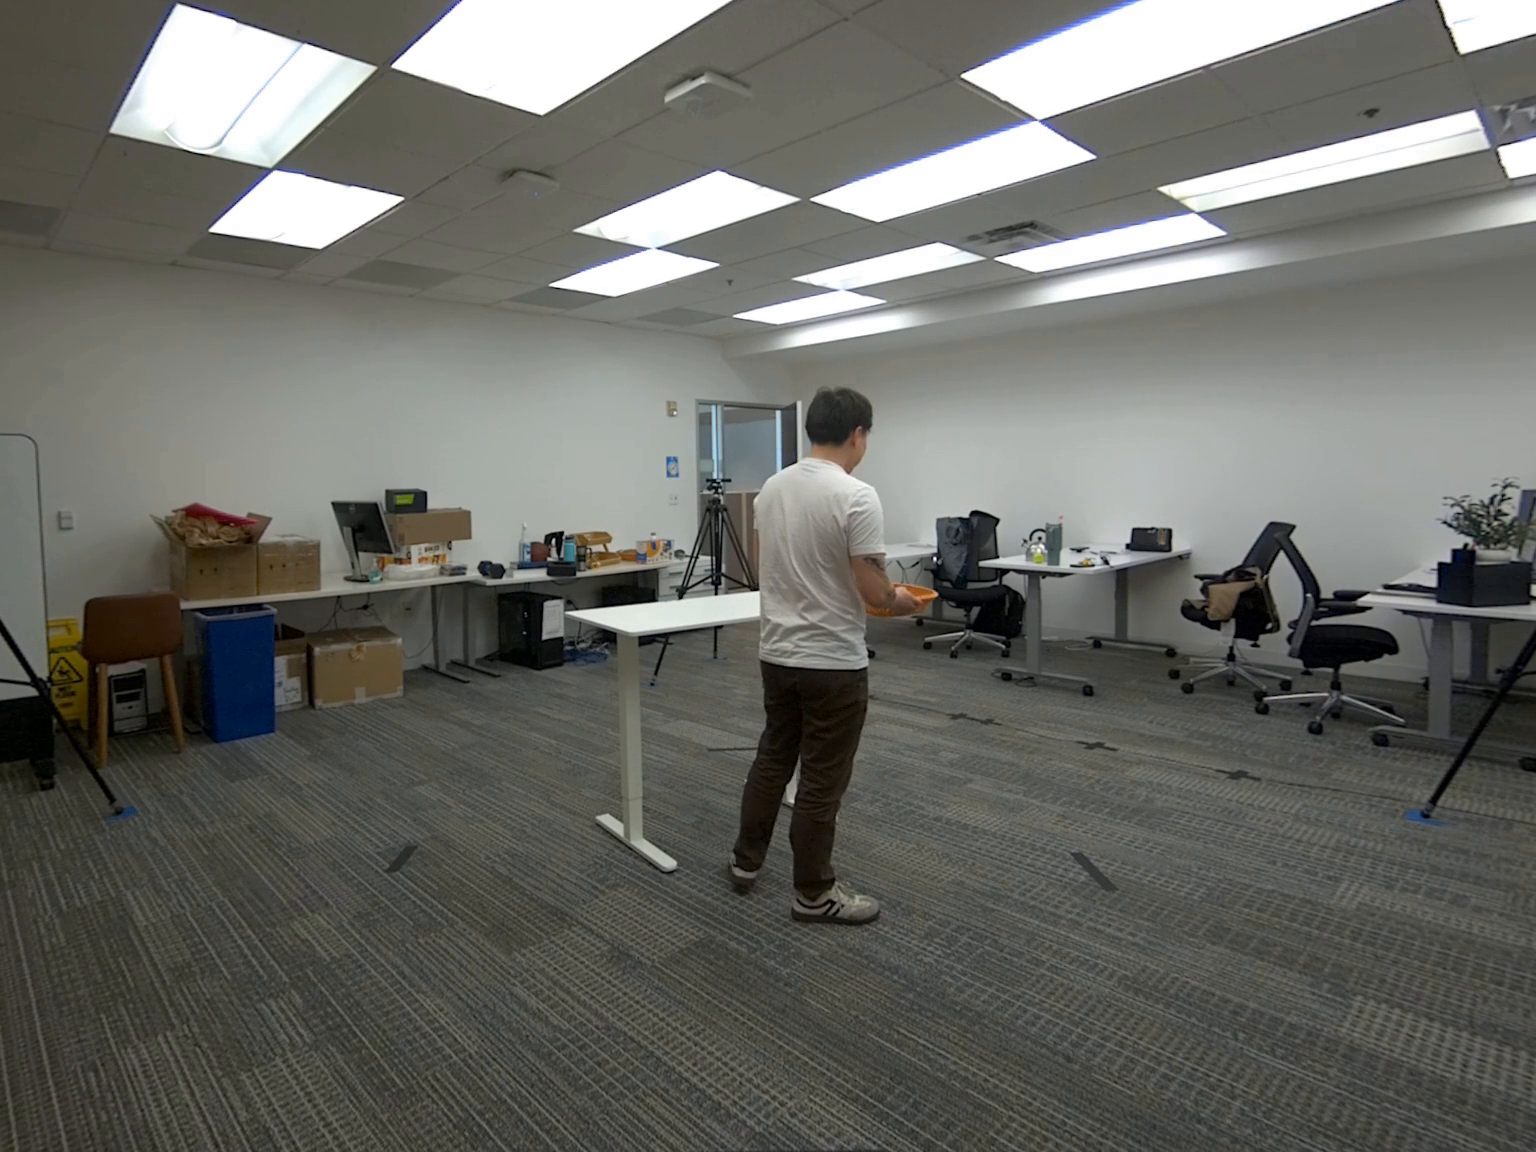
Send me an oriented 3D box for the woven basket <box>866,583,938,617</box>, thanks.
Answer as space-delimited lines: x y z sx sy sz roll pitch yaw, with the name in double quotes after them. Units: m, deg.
0.432 0.084 2.883 0.342 0.073 0.260 0 7 -28 "woven basket"
